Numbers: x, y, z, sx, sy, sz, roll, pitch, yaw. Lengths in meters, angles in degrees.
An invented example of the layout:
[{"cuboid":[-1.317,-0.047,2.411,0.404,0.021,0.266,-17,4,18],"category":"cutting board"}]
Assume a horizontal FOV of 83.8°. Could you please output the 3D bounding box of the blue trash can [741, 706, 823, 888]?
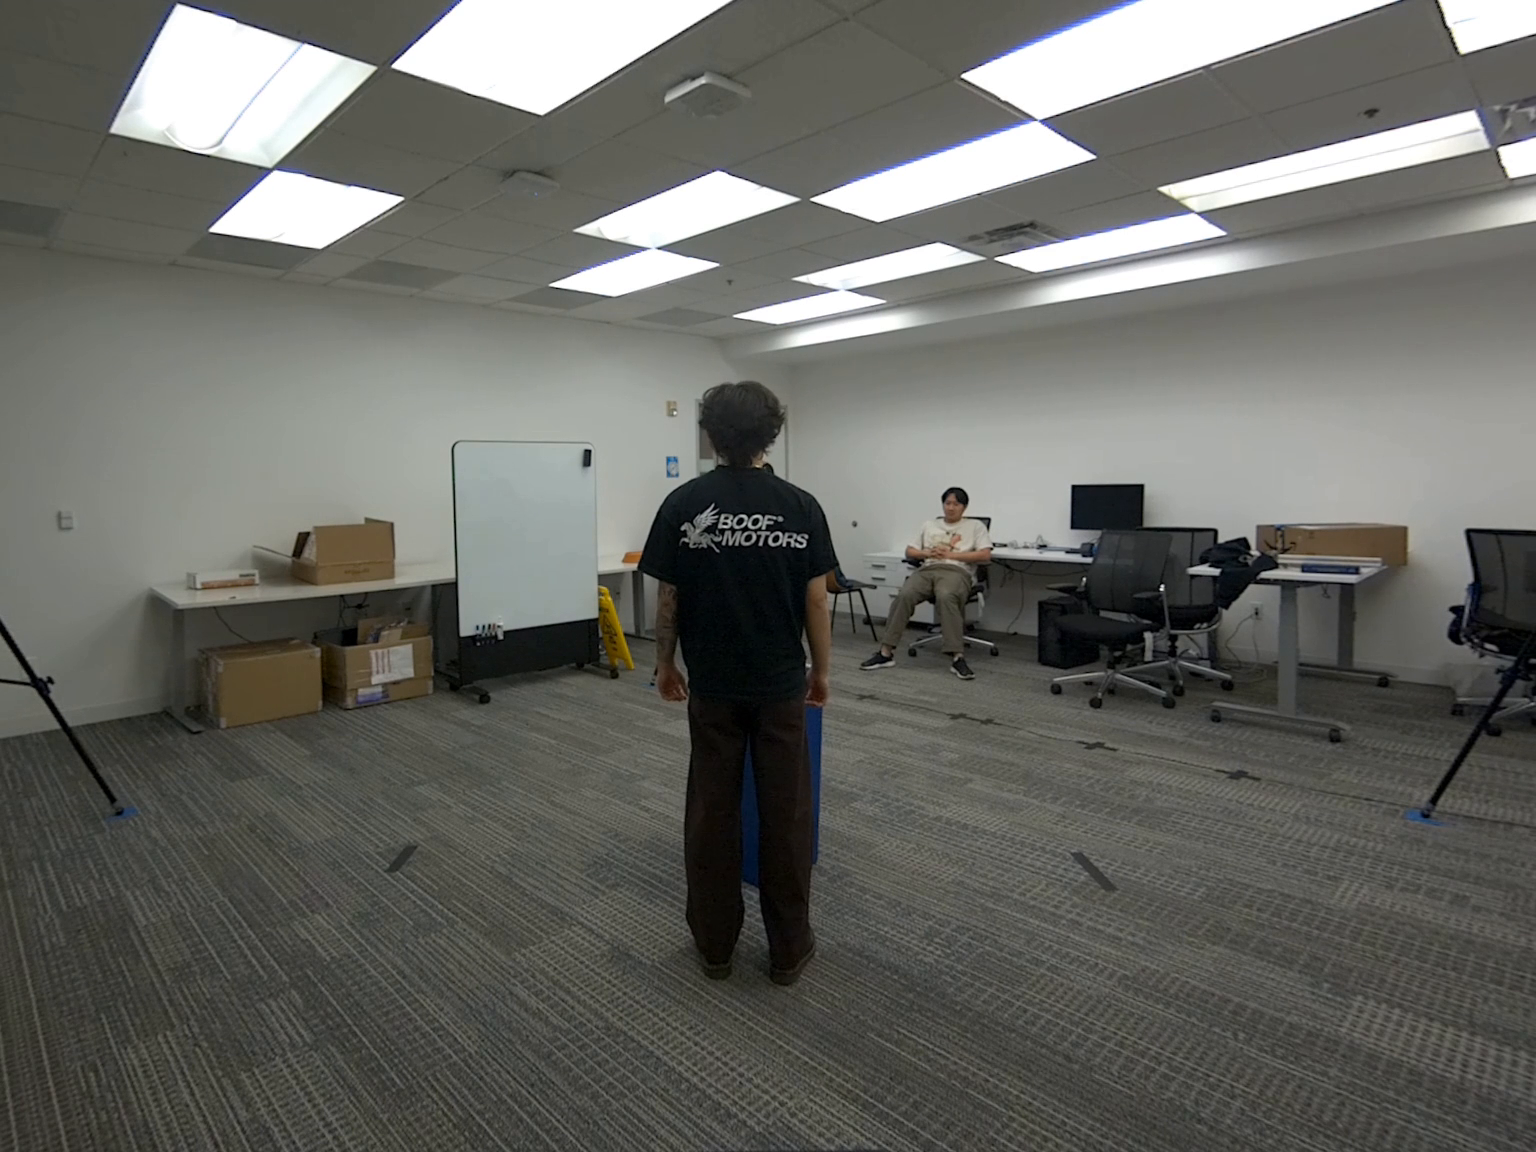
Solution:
[{"cuboid":[-0.019,0.689,3.086,0.385,0.711,0.368,3,6,45],"category":"blue trash can"}]
